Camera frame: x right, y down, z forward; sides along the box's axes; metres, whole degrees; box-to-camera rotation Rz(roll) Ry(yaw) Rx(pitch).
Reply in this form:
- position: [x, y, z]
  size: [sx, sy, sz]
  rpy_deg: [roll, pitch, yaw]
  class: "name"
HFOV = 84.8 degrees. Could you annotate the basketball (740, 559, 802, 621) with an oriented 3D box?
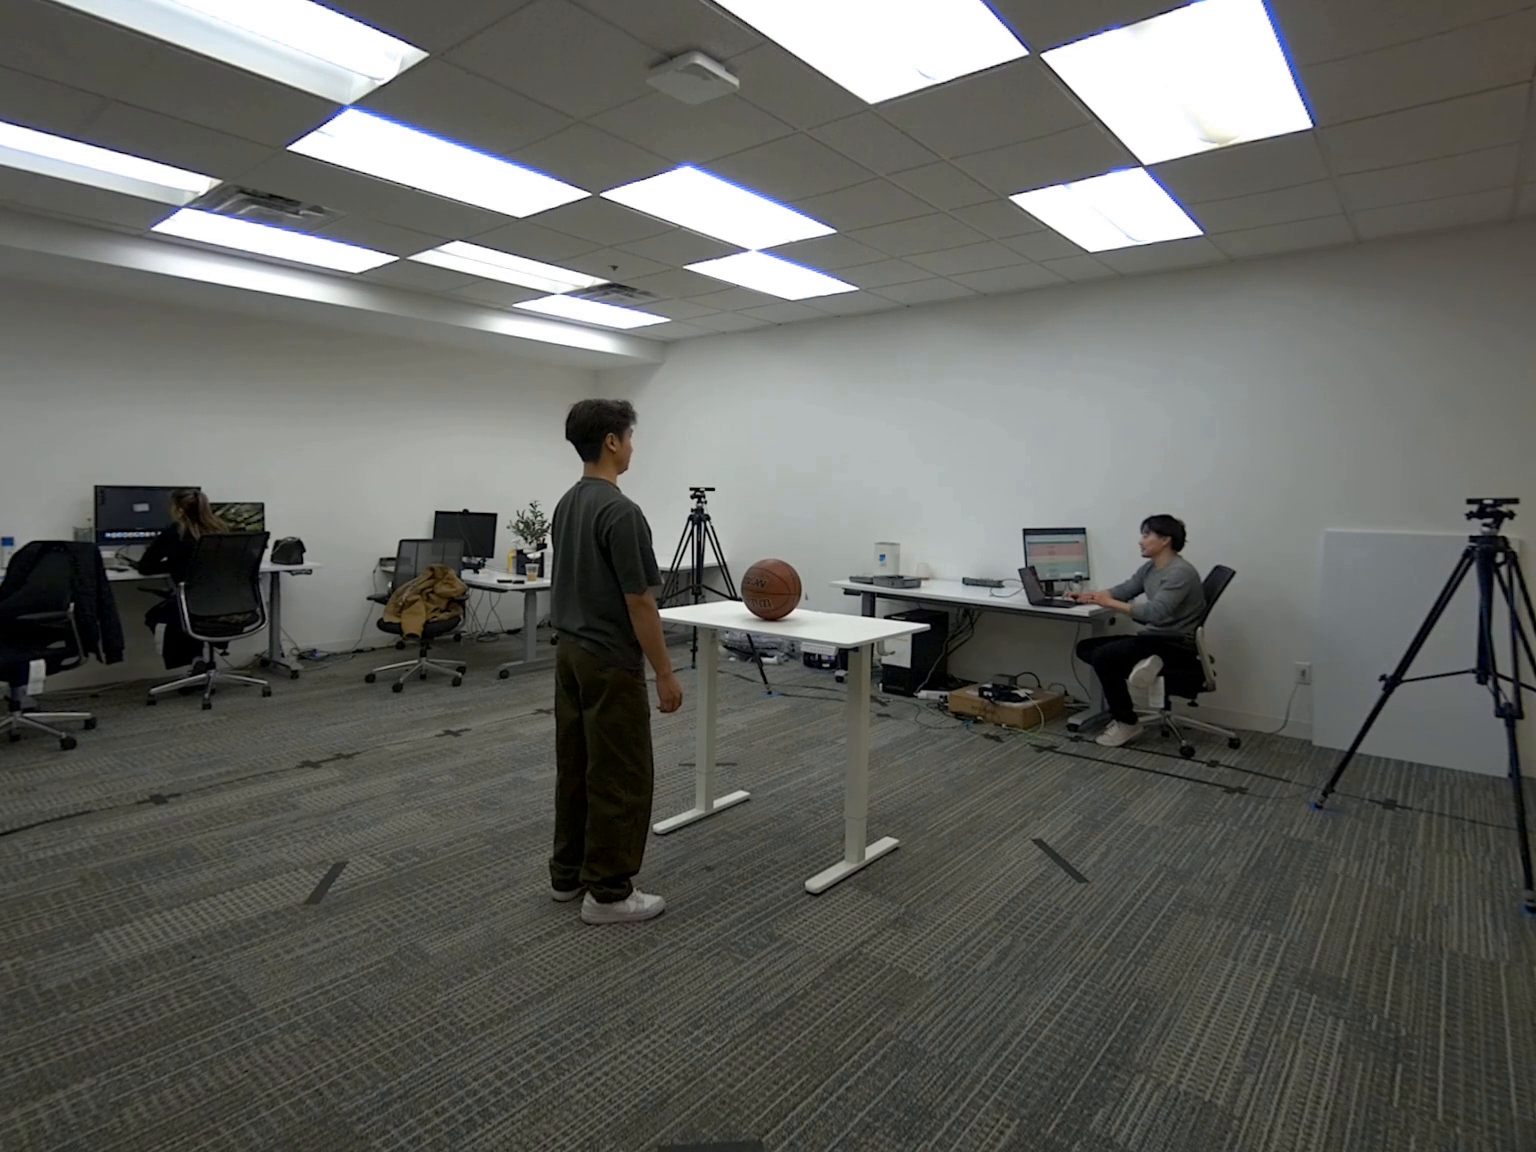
- position: [0.005, 0.051, 3.330]
  size: [0.235, 0.235, 0.237]
  rpy_deg: [1, 4, -2]
  class: "basketball"
